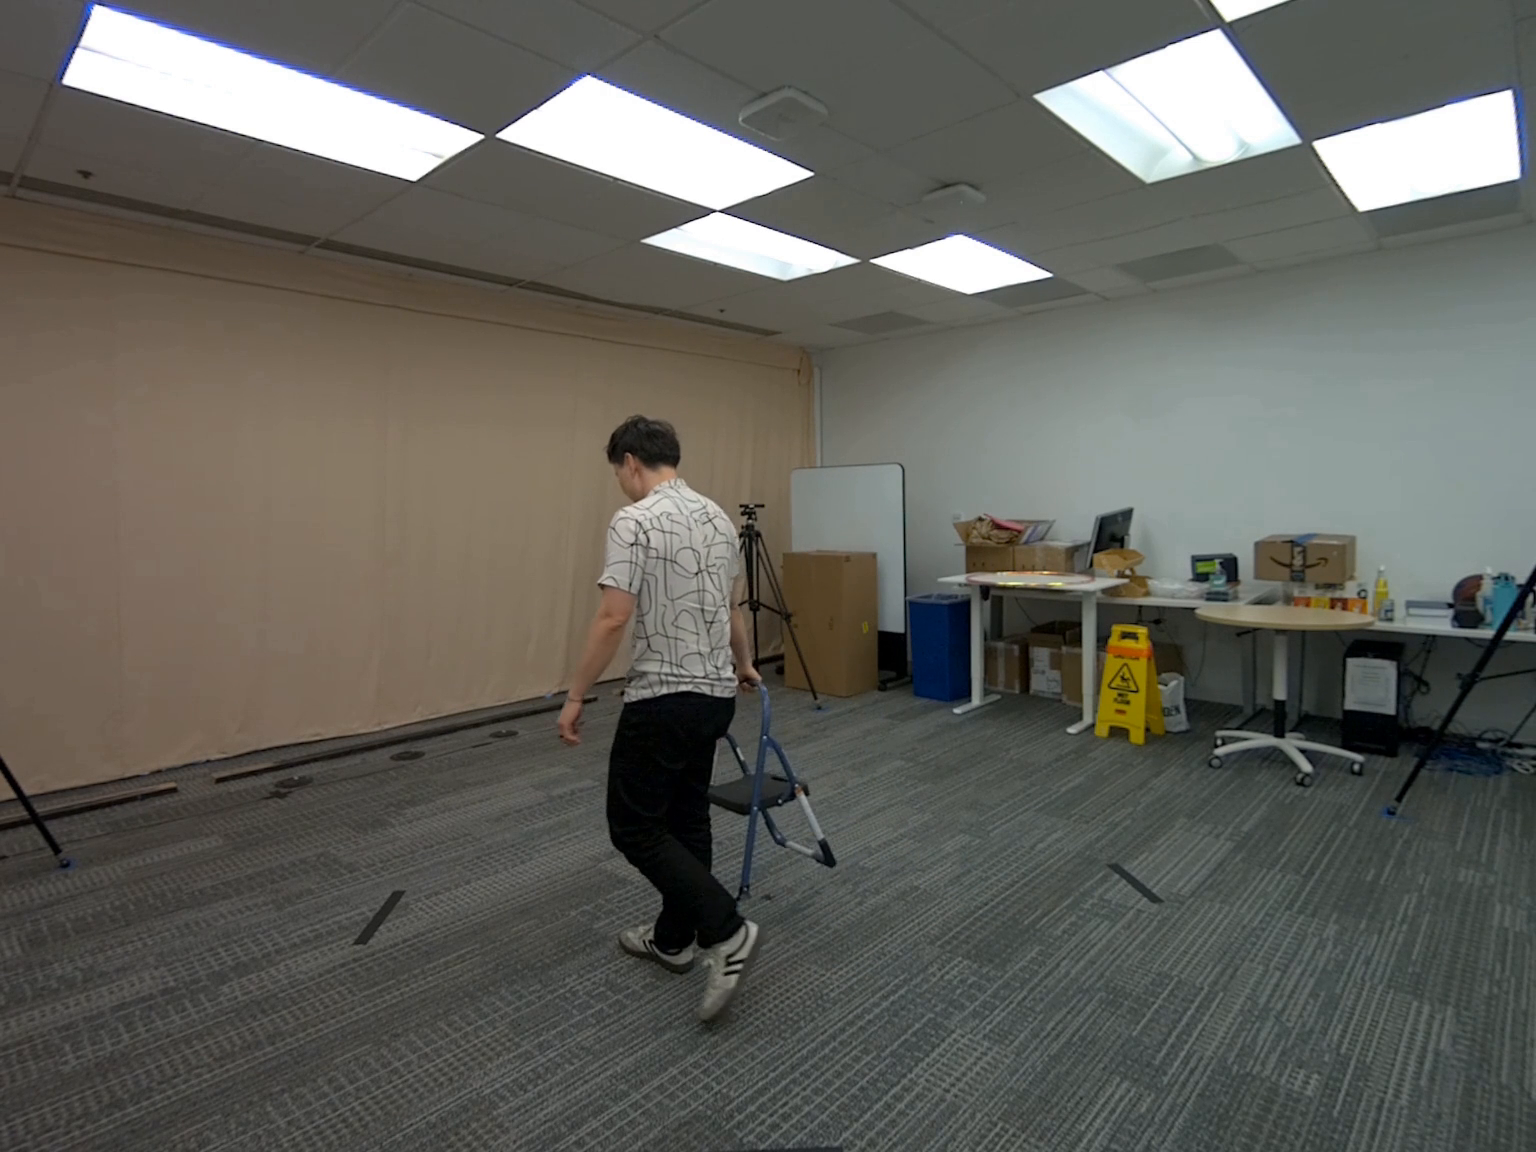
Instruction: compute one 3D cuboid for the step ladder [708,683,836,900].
[{"bbox_3d":[-0.076,0.660,2.769,0.341,0.607,0.439,-10,-2,-27],"label":"step ladder"}]
